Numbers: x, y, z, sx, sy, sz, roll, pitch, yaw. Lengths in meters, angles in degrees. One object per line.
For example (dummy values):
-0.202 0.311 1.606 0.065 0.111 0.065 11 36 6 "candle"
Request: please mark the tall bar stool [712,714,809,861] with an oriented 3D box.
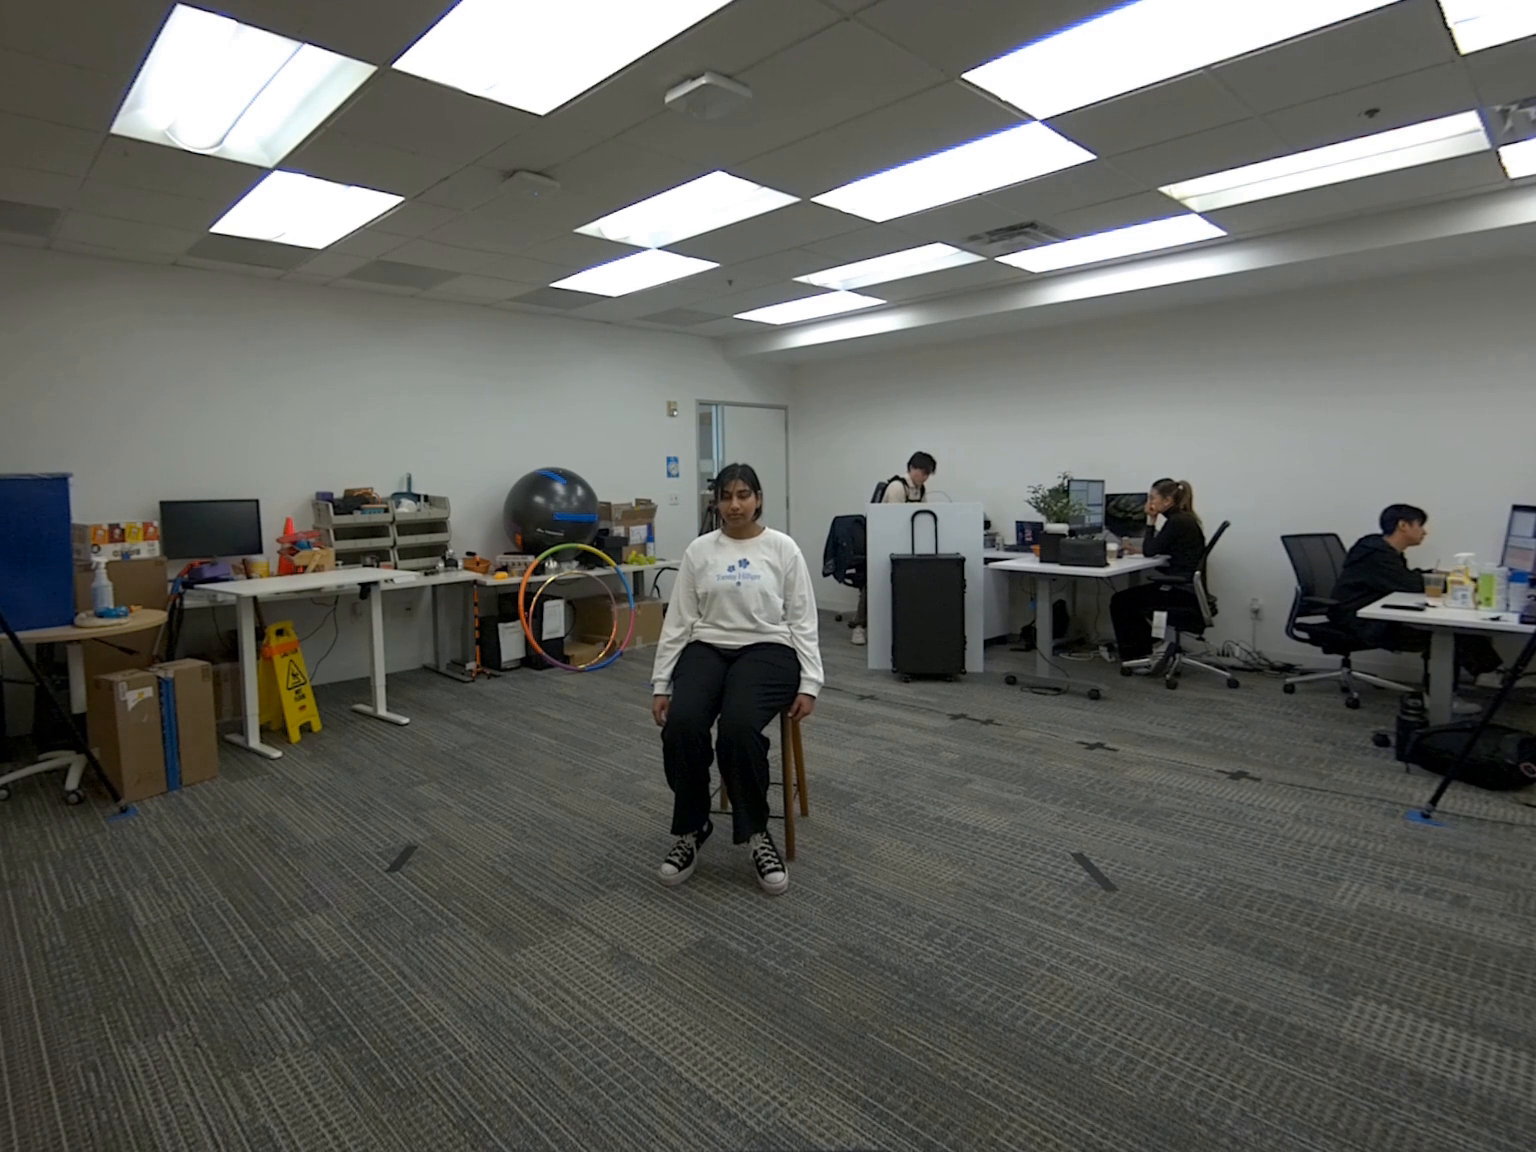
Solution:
-0.056 0.584 3.369 0.463 0.888 0.462 0 2 14 "tall bar stool"
